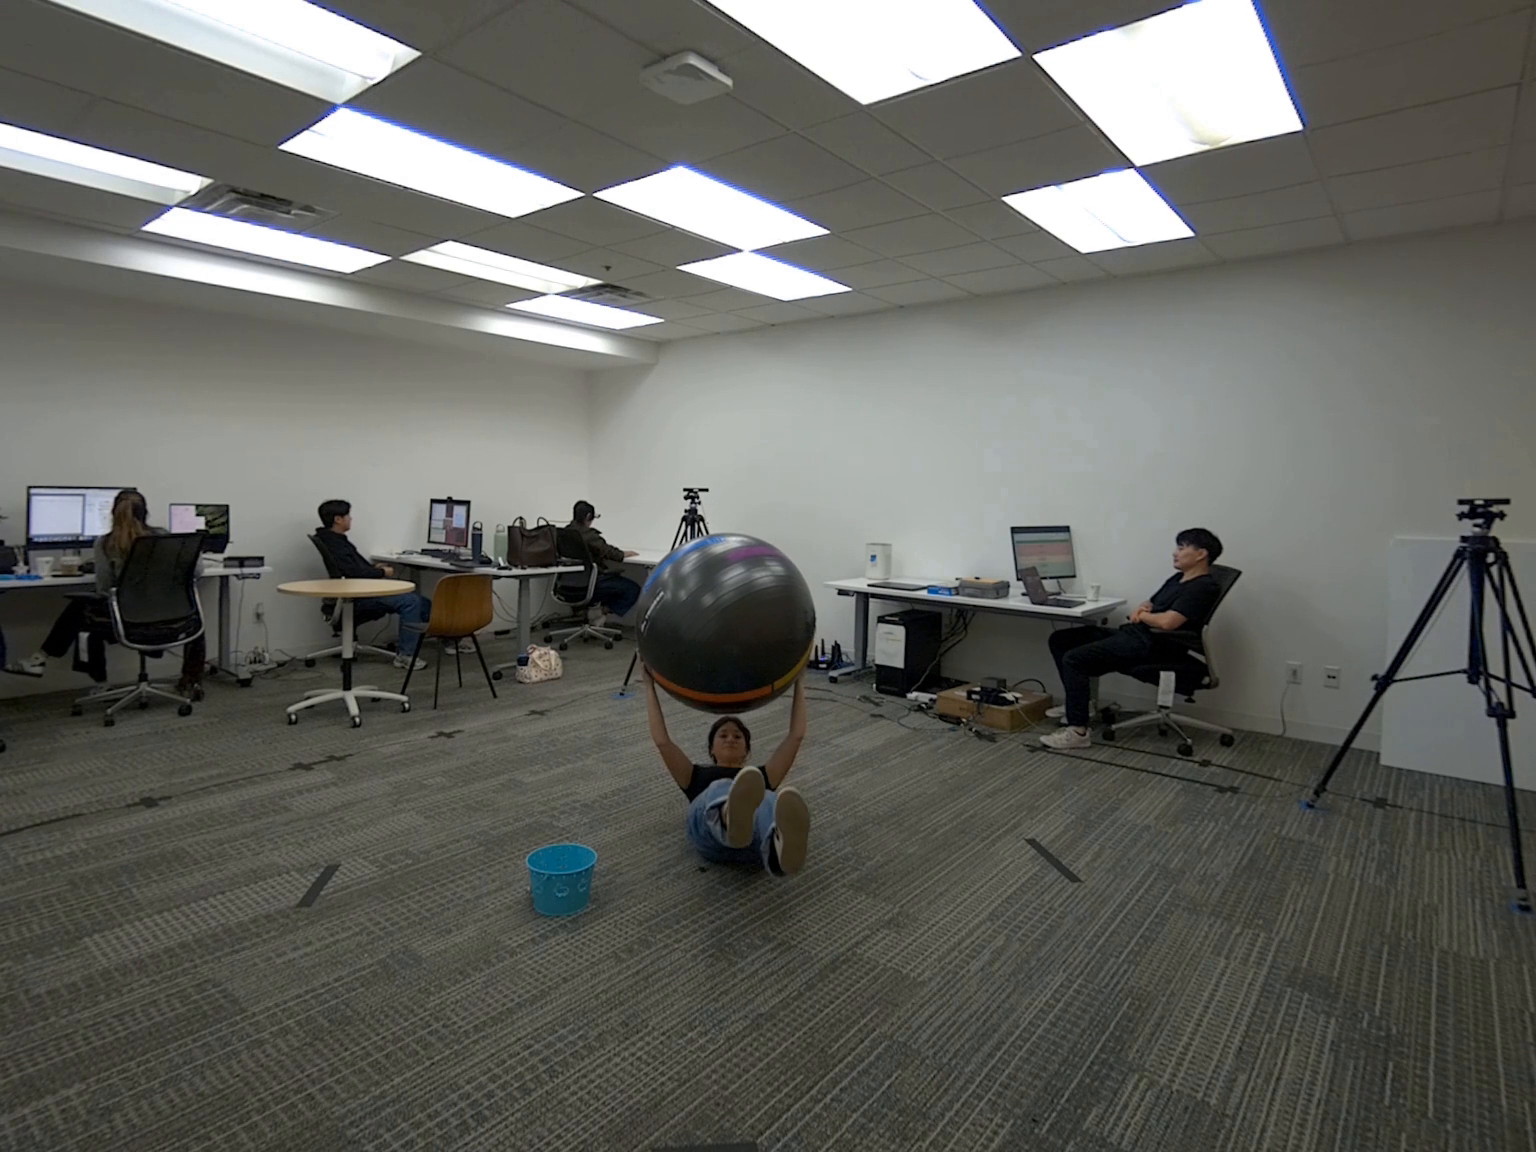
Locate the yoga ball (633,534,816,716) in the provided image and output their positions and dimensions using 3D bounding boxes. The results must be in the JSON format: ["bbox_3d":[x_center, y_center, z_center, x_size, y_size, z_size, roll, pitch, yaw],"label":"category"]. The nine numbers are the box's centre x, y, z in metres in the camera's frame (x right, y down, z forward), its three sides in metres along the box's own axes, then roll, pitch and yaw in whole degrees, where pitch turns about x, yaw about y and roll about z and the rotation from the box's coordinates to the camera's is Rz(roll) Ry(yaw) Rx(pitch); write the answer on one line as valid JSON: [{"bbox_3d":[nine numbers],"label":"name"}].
[{"bbox_3d":[-0.186,0.199,3.578,0.757,0.755,0.762,1,4,-2],"label":"yoga ball"}]
